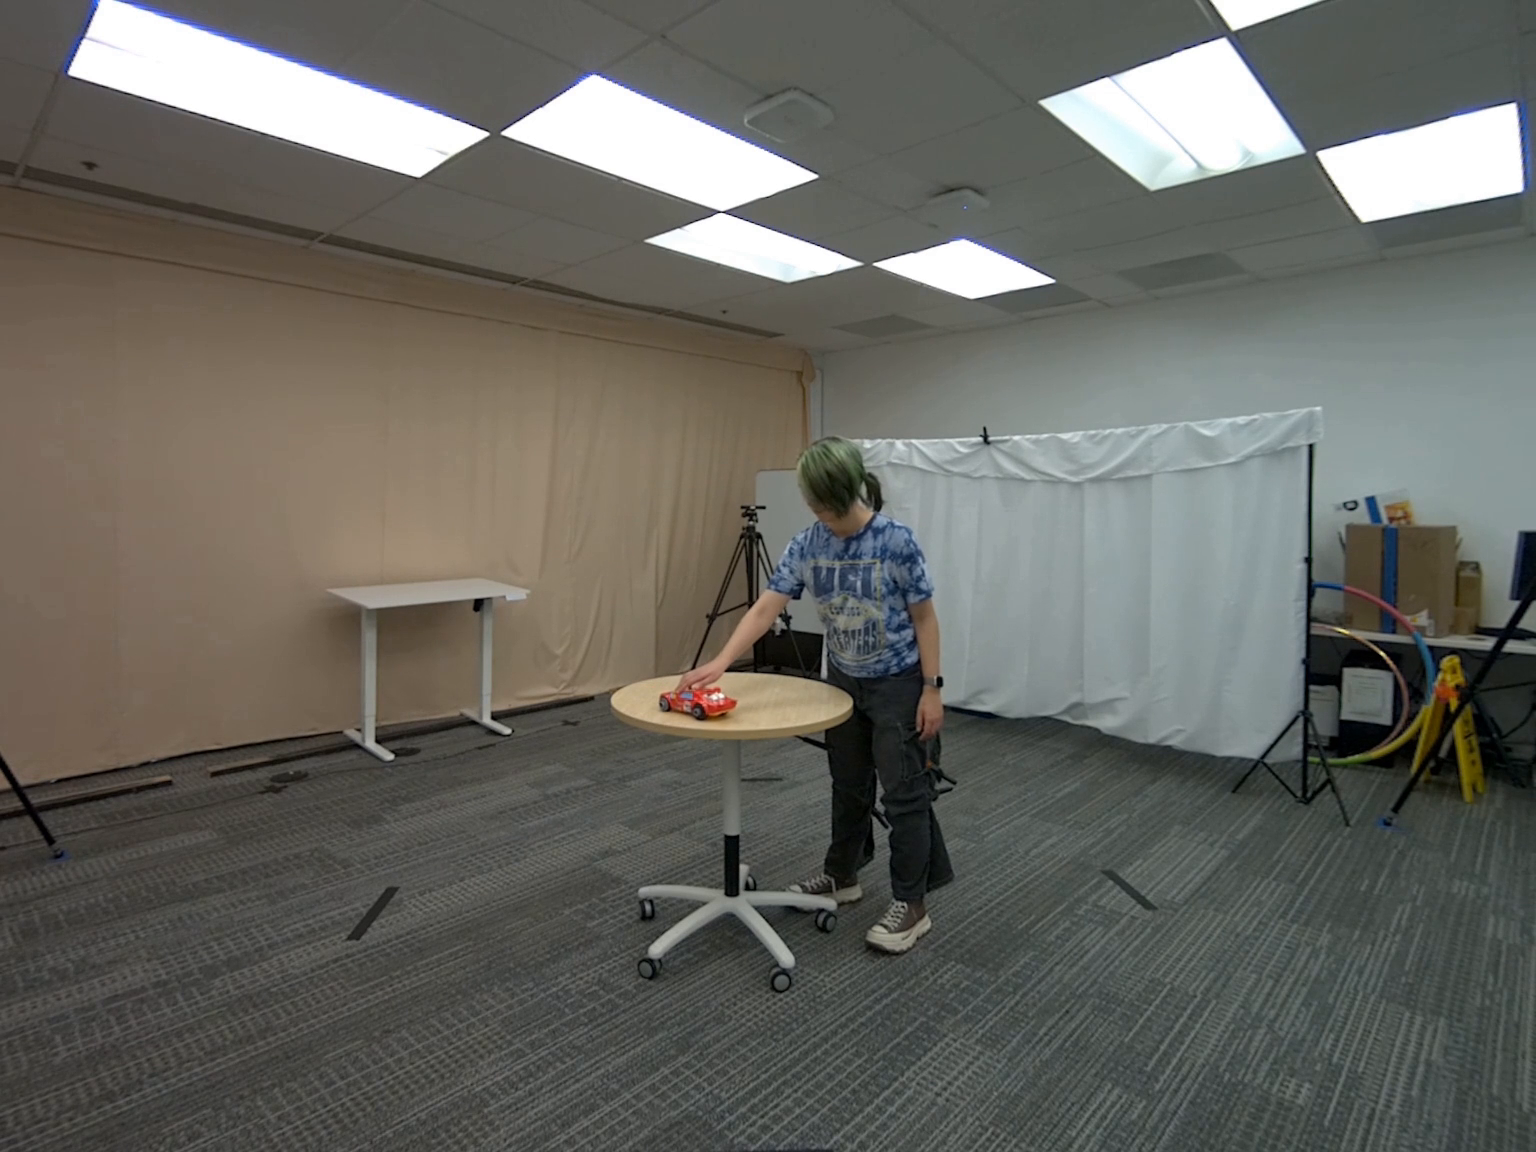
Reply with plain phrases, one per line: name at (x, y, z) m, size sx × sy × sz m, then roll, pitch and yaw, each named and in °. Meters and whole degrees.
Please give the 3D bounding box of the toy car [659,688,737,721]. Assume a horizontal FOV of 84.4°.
toy car at (-0.198, 0.378, 2.461) m, size 0.262 × 0.083 × 0.126 m, roll -9°, pitch -3°, yaw 42°
